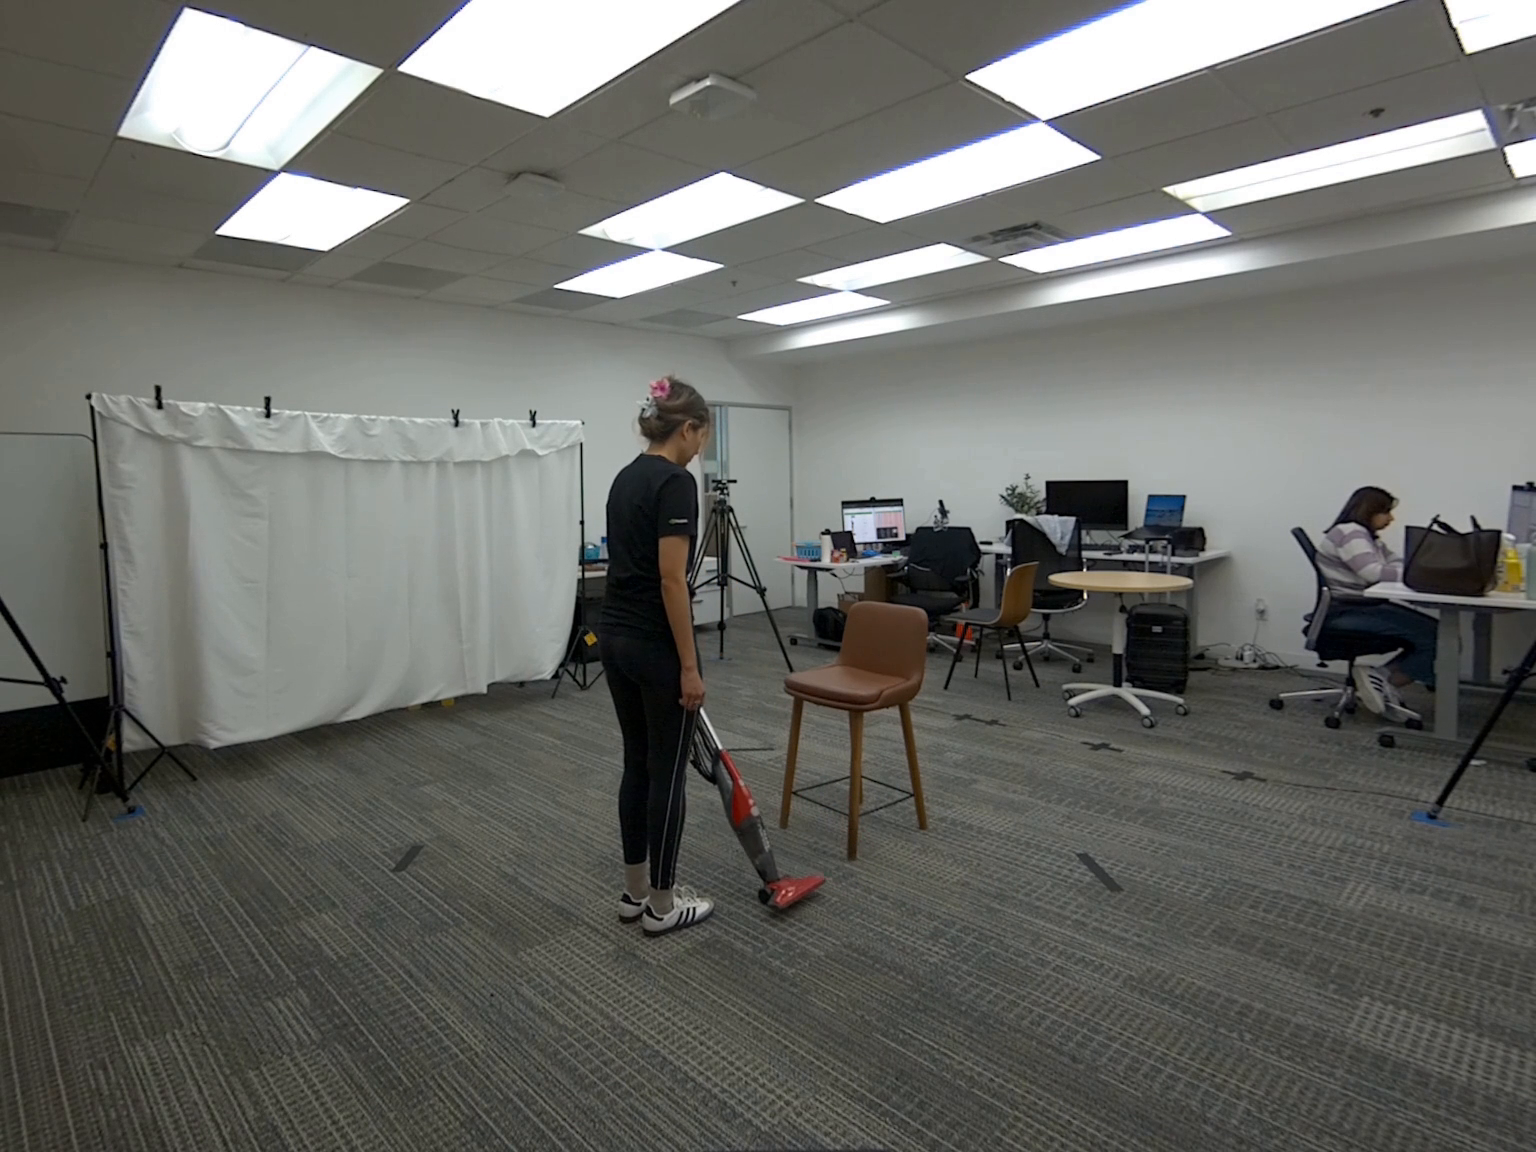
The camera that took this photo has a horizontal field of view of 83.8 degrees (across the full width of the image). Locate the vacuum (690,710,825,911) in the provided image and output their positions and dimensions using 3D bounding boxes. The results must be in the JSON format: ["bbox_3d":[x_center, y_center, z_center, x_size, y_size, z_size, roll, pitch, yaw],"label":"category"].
[{"bbox_3d":[-0.188,0.632,3.026,0.246,1.079,0.144,-5,-35,-47],"label":"vacuum"}]
